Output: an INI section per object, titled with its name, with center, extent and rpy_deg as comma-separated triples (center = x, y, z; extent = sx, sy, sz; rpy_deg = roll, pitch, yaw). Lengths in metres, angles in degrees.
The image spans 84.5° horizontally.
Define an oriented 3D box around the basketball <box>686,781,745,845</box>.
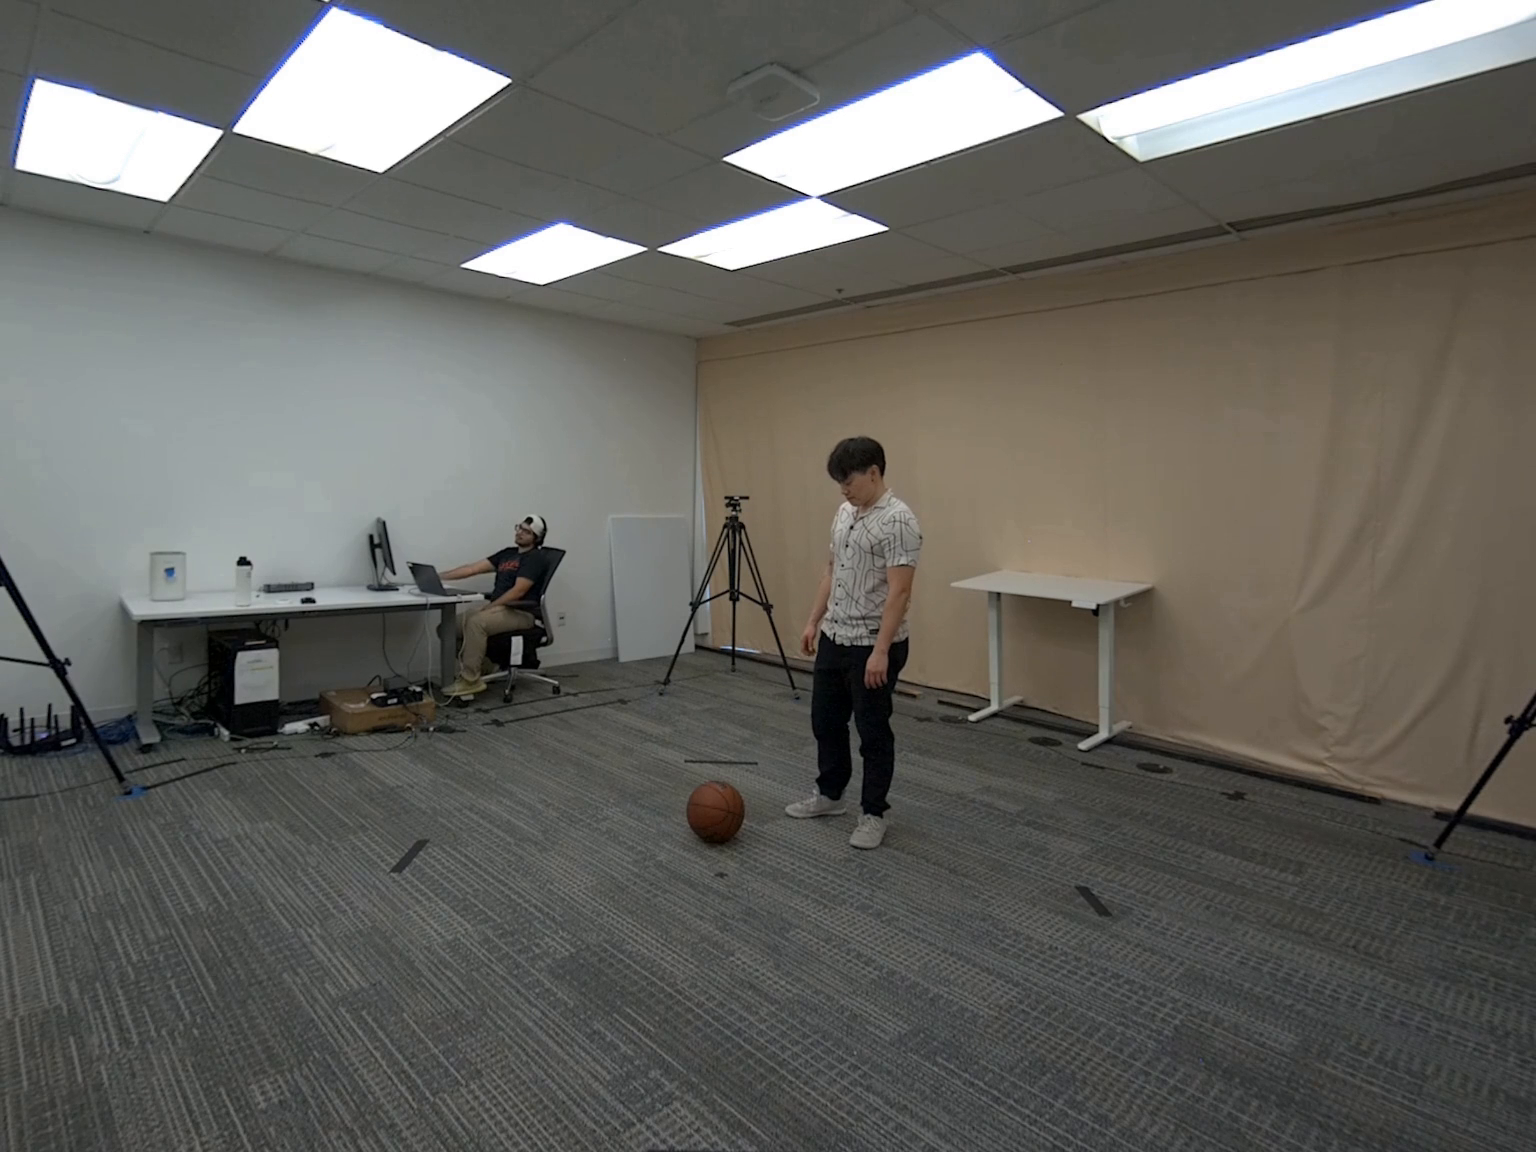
[basketball]
center = -0.219, 0.954, 3.418
extent = 0.236, 0.235, 0.237
rpy_deg = 1, 4, -1
